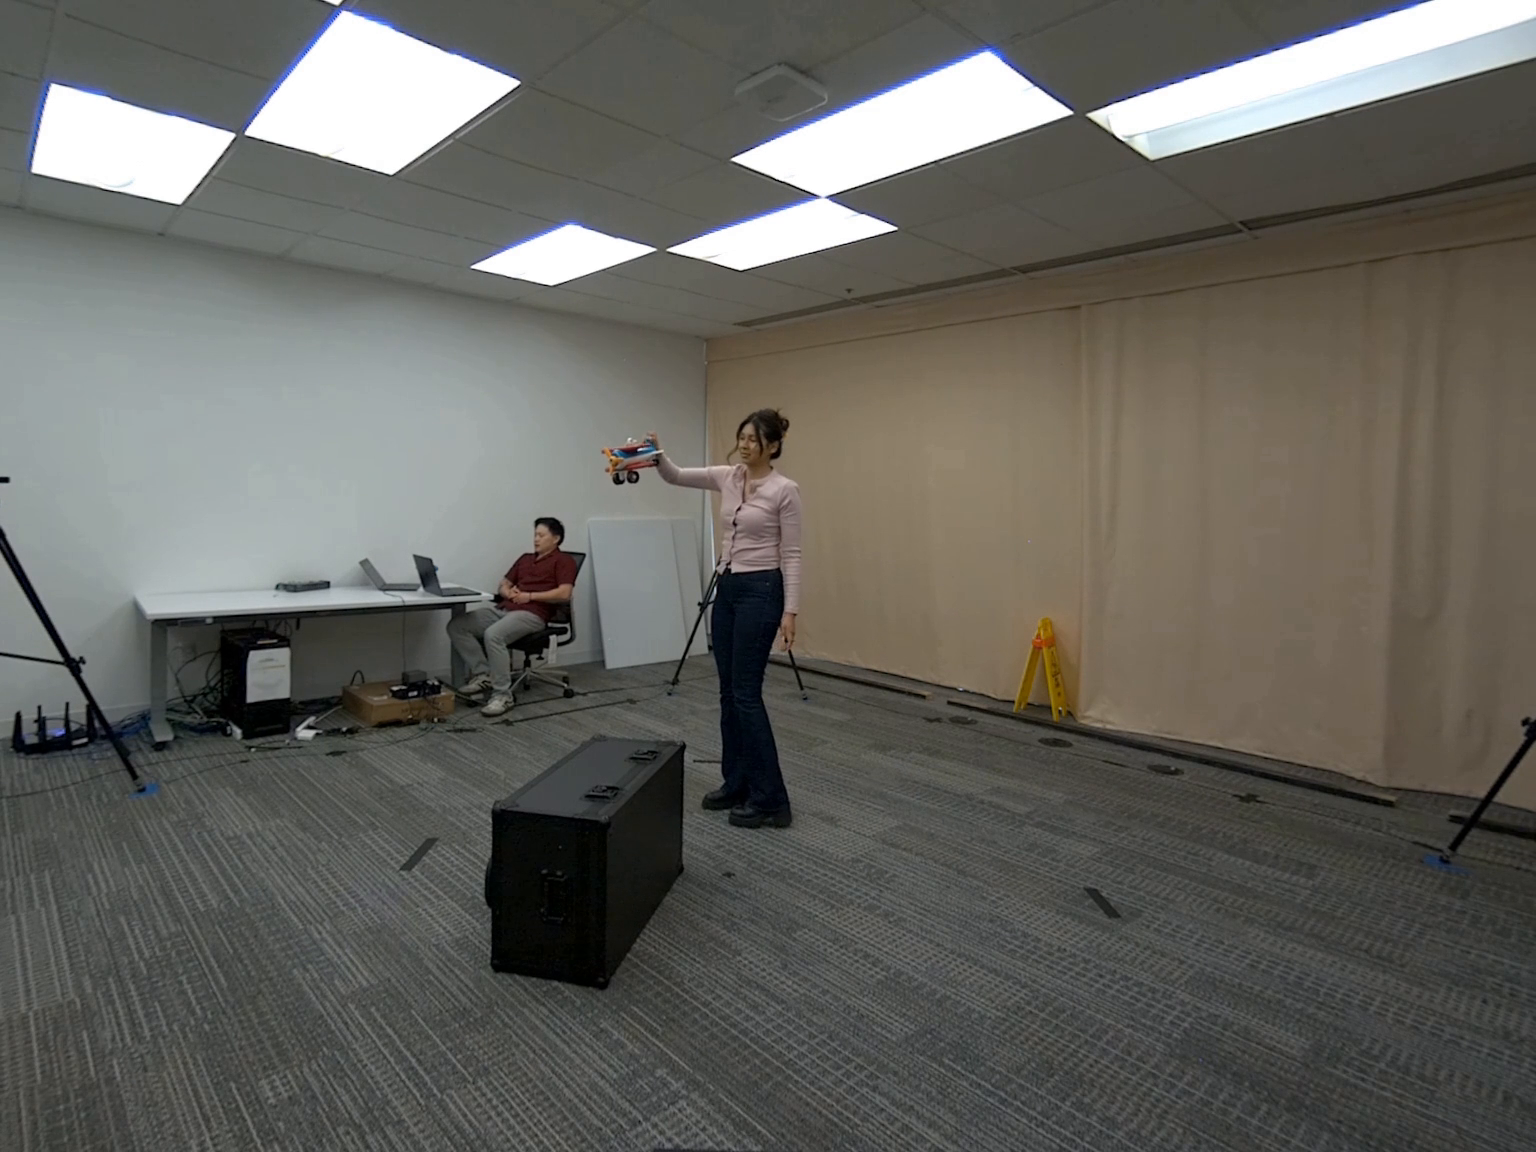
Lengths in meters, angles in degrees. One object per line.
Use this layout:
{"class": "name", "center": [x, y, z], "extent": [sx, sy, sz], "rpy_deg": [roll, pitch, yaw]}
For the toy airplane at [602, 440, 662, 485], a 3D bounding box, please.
{"class": "toy airplane", "center": [-0.584, -0.495, 3.548], "extent": [0.253, 0.153, 0.262], "rpy_deg": [-13, 24, 13]}
